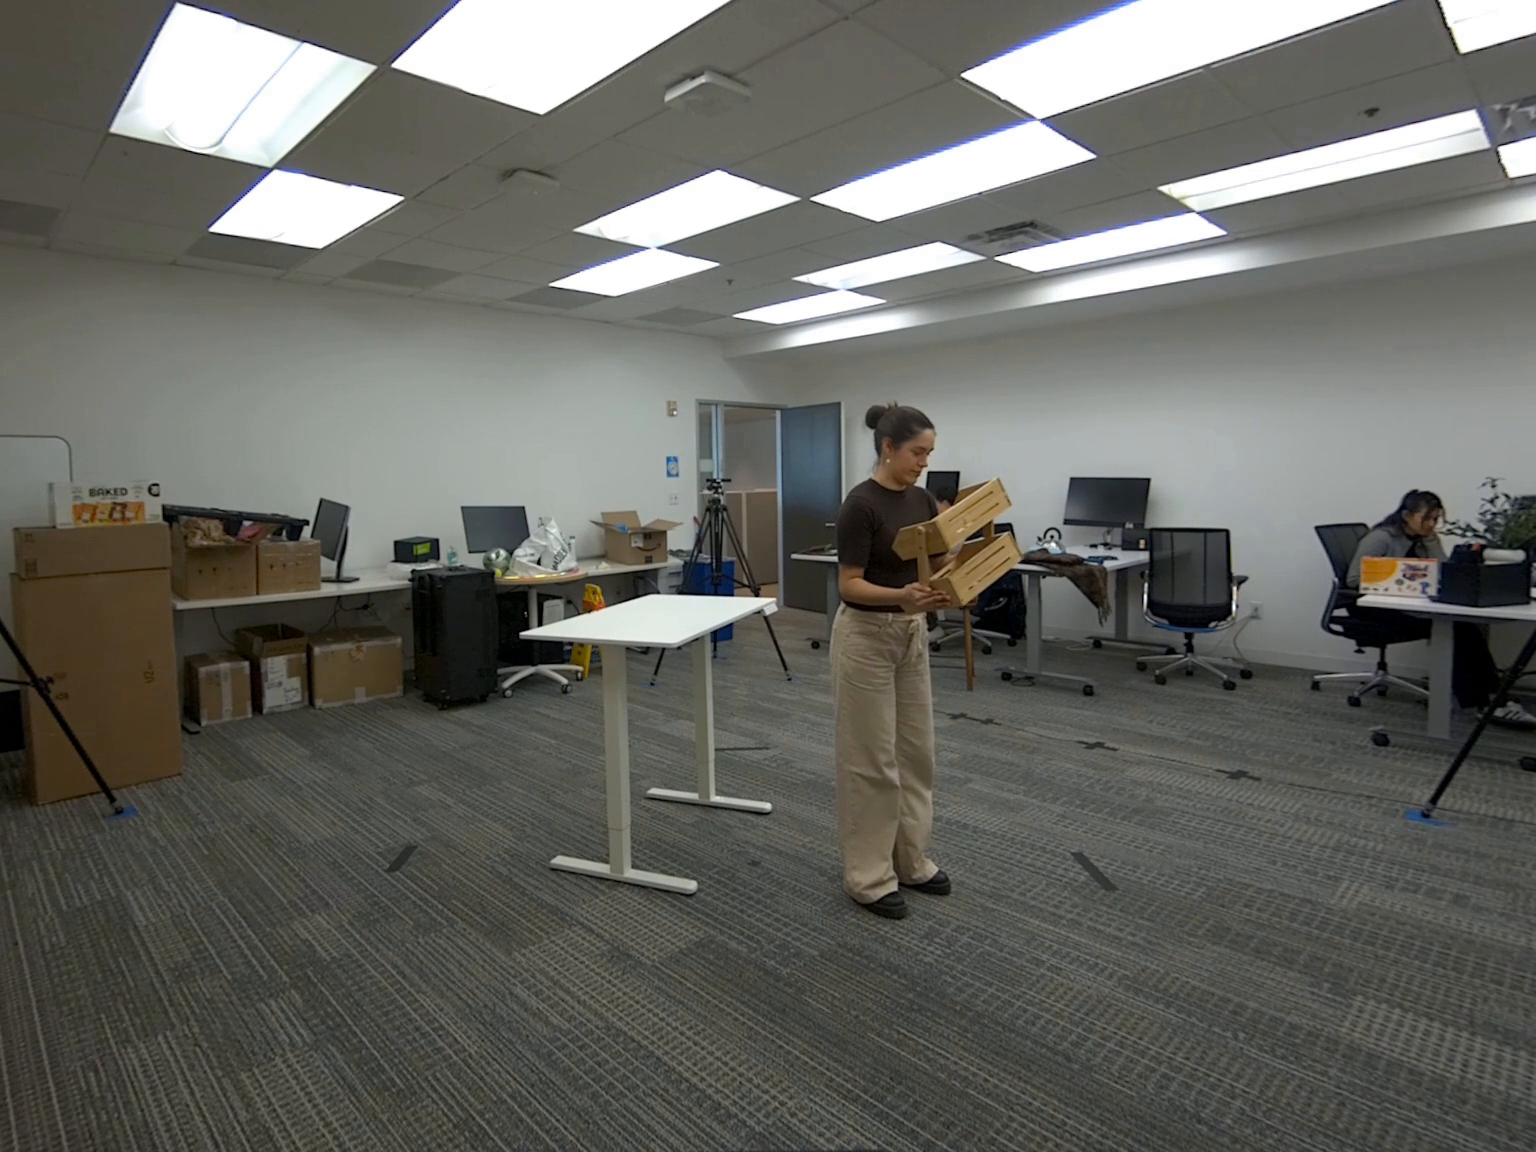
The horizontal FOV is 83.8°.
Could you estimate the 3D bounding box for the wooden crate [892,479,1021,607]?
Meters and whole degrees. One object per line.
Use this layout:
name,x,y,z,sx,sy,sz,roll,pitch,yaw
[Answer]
wooden crate,0.548,-0.086,2.540,0.321,0.272,0.307,-31,7,-32
